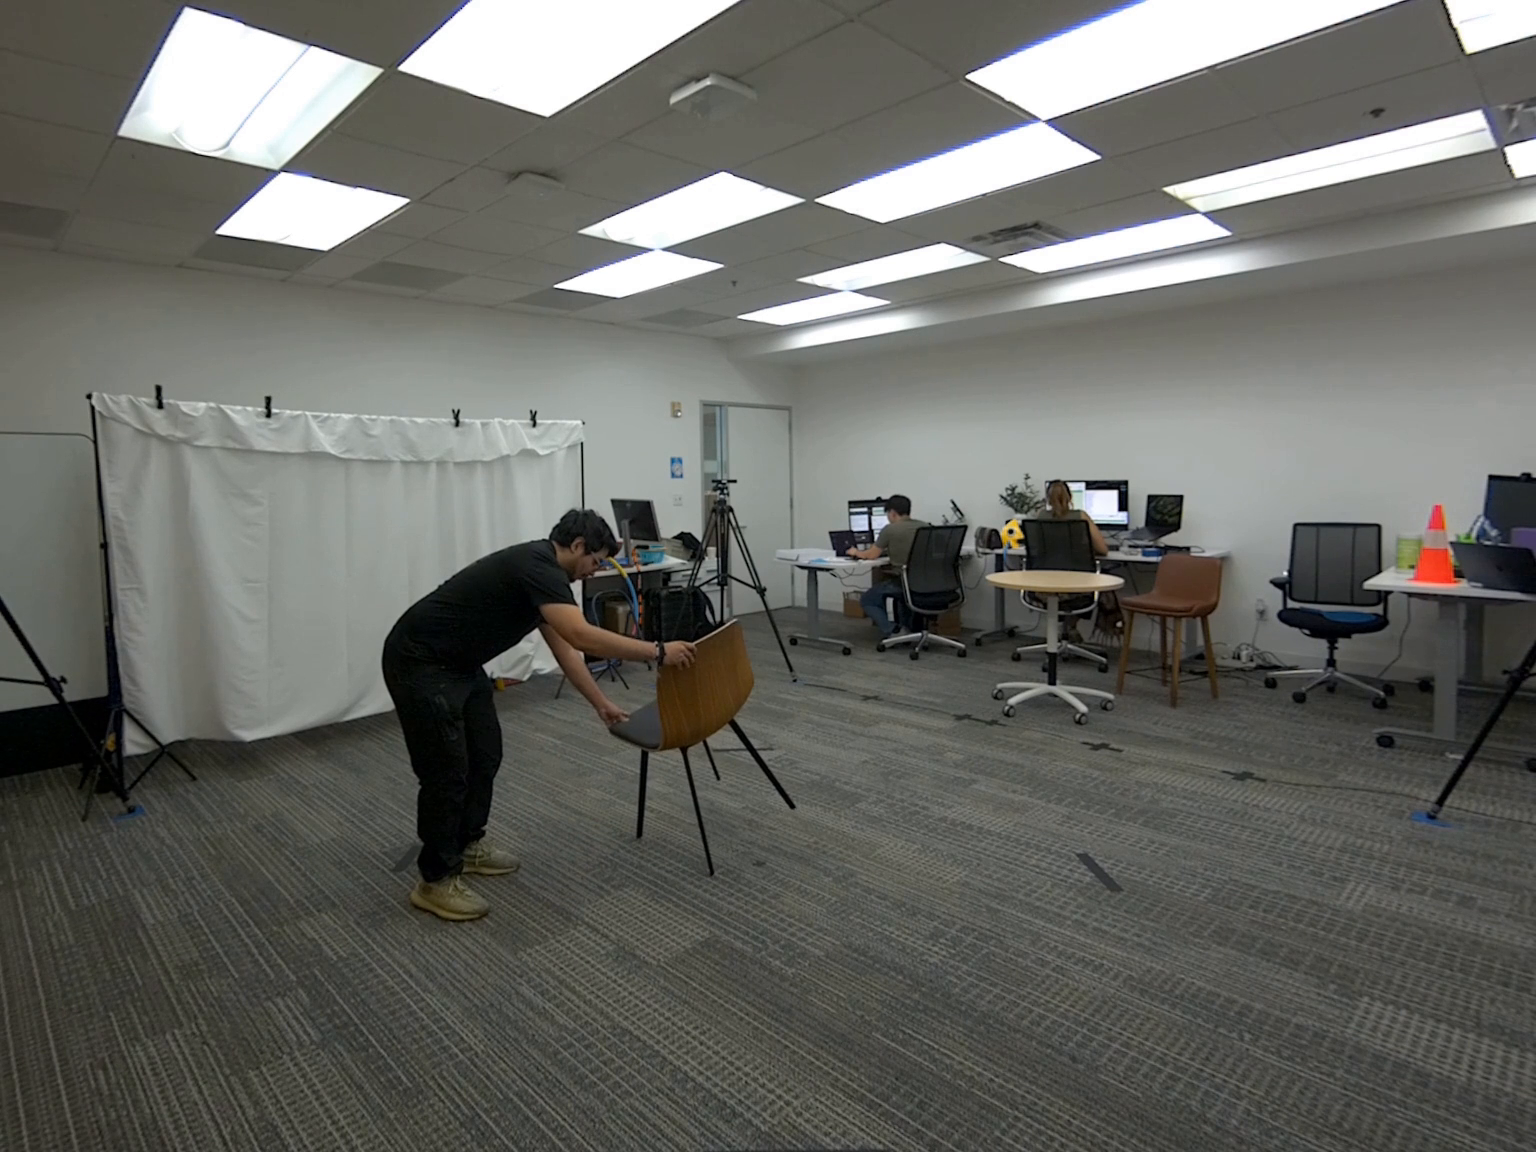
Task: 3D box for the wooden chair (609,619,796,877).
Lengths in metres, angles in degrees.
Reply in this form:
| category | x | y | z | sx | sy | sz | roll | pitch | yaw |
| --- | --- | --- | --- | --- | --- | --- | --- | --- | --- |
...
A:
| category | x | y | z | sx | sy | sz | roll | pitch | yaw |
| --- | --- | --- | --- | --- | --- | --- | --- | --- | --- |
| wooden chair | -0.305 | 0.565 | 3.225 | 0.471 | 0.860 | 0.540 | -27 | 25 | -39 |
